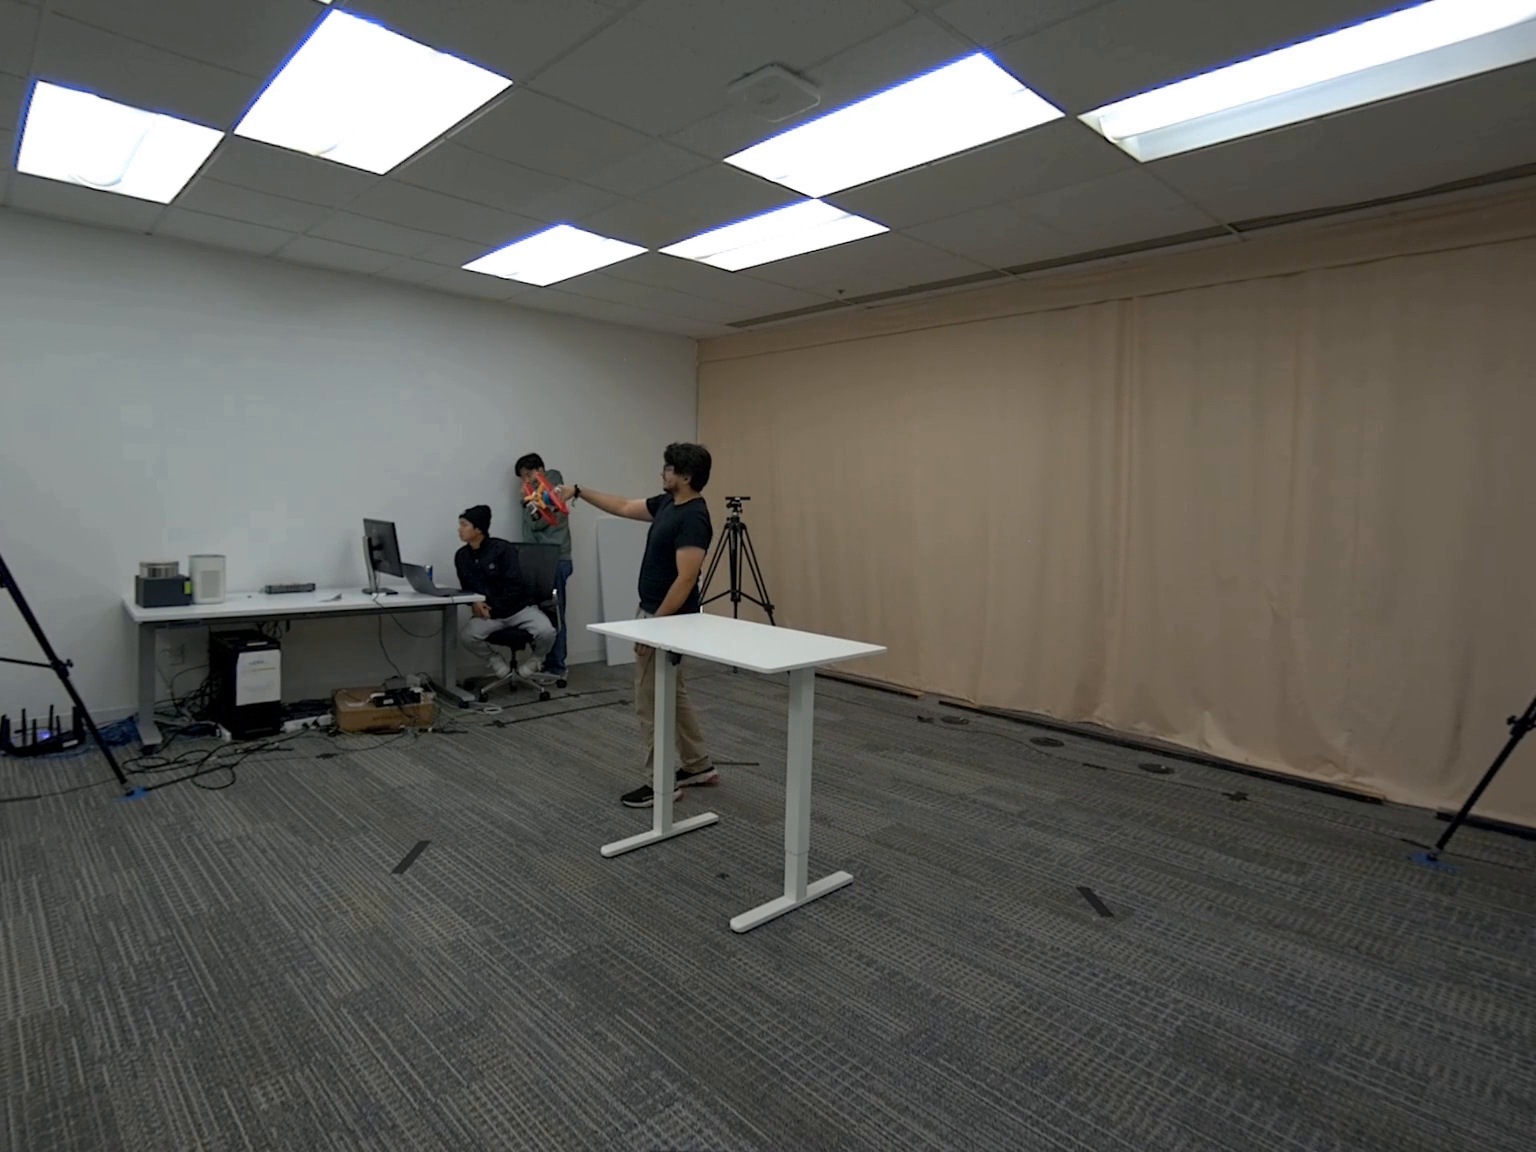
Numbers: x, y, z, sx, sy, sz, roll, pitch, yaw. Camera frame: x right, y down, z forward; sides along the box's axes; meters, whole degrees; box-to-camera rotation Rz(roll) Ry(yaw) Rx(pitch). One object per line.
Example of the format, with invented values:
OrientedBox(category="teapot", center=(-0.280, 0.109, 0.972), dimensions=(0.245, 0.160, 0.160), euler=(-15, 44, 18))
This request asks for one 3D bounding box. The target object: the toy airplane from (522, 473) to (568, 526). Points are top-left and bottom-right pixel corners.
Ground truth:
OrientedBox(category="toy airplane", center=(-1.075, -0.372, 4.012), dimensions=(0.157, 0.248, 0.262), euler=(-40, 15, 22))
